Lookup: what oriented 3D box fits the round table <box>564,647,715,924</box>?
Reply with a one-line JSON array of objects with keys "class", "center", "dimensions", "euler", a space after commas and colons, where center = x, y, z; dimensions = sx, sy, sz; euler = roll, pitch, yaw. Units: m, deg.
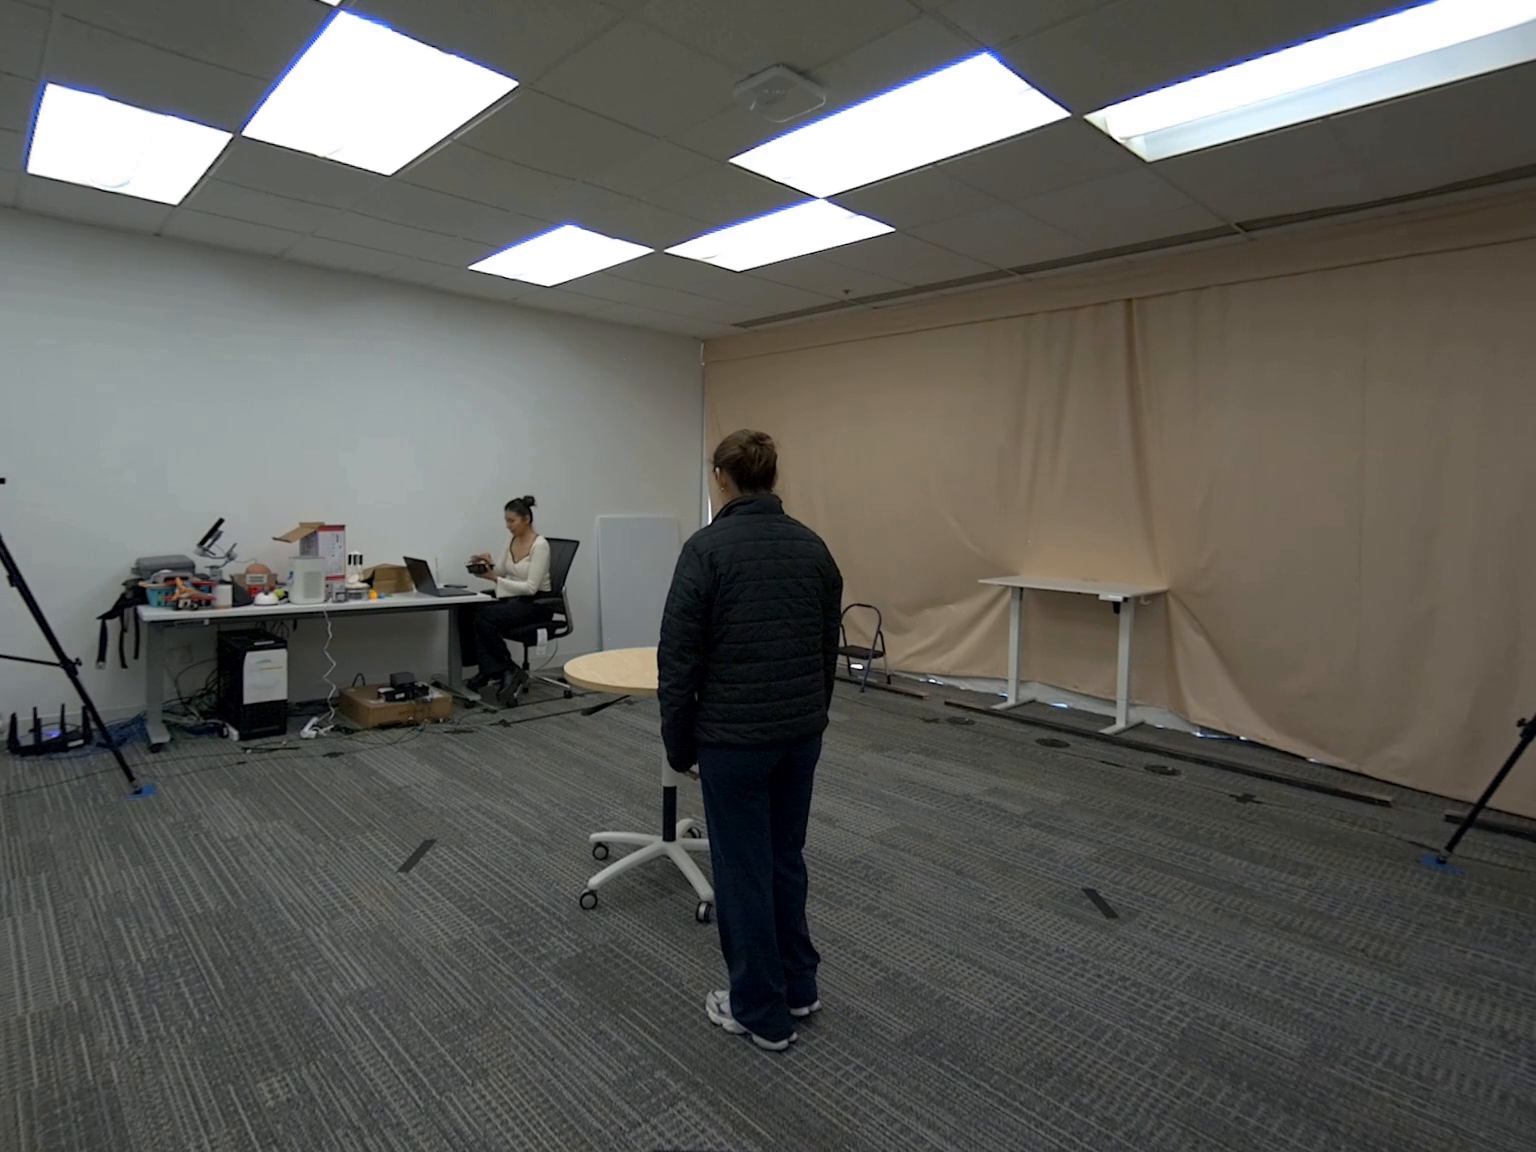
[{"class": "round table", "center": [-0.356, 0.717, 3.028], "dimensions": [0.784, 0.784, 0.787], "euler": [1, 4, -1]}]
